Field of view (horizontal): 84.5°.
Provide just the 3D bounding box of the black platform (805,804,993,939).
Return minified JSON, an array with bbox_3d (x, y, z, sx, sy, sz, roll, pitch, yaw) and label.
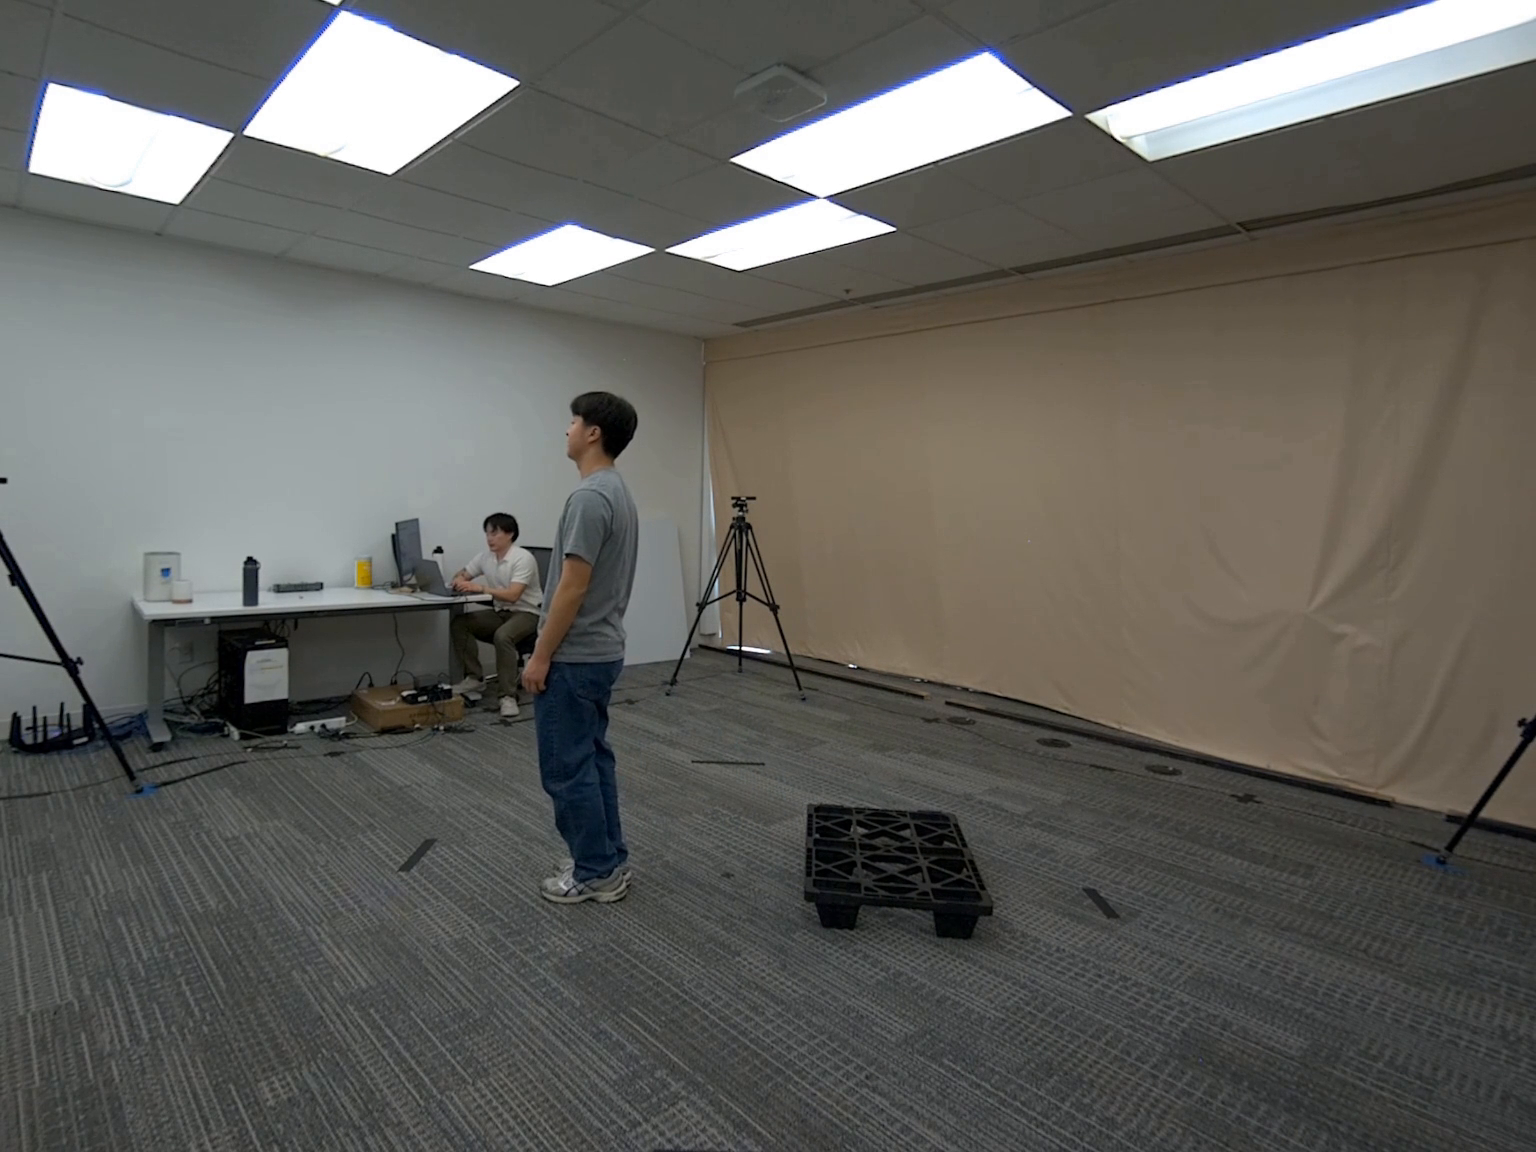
[{"bbox_3d":[0.425,1.051,3.069,0.608,0.143,0.804,1,4,4],"label":"black platform"}]
